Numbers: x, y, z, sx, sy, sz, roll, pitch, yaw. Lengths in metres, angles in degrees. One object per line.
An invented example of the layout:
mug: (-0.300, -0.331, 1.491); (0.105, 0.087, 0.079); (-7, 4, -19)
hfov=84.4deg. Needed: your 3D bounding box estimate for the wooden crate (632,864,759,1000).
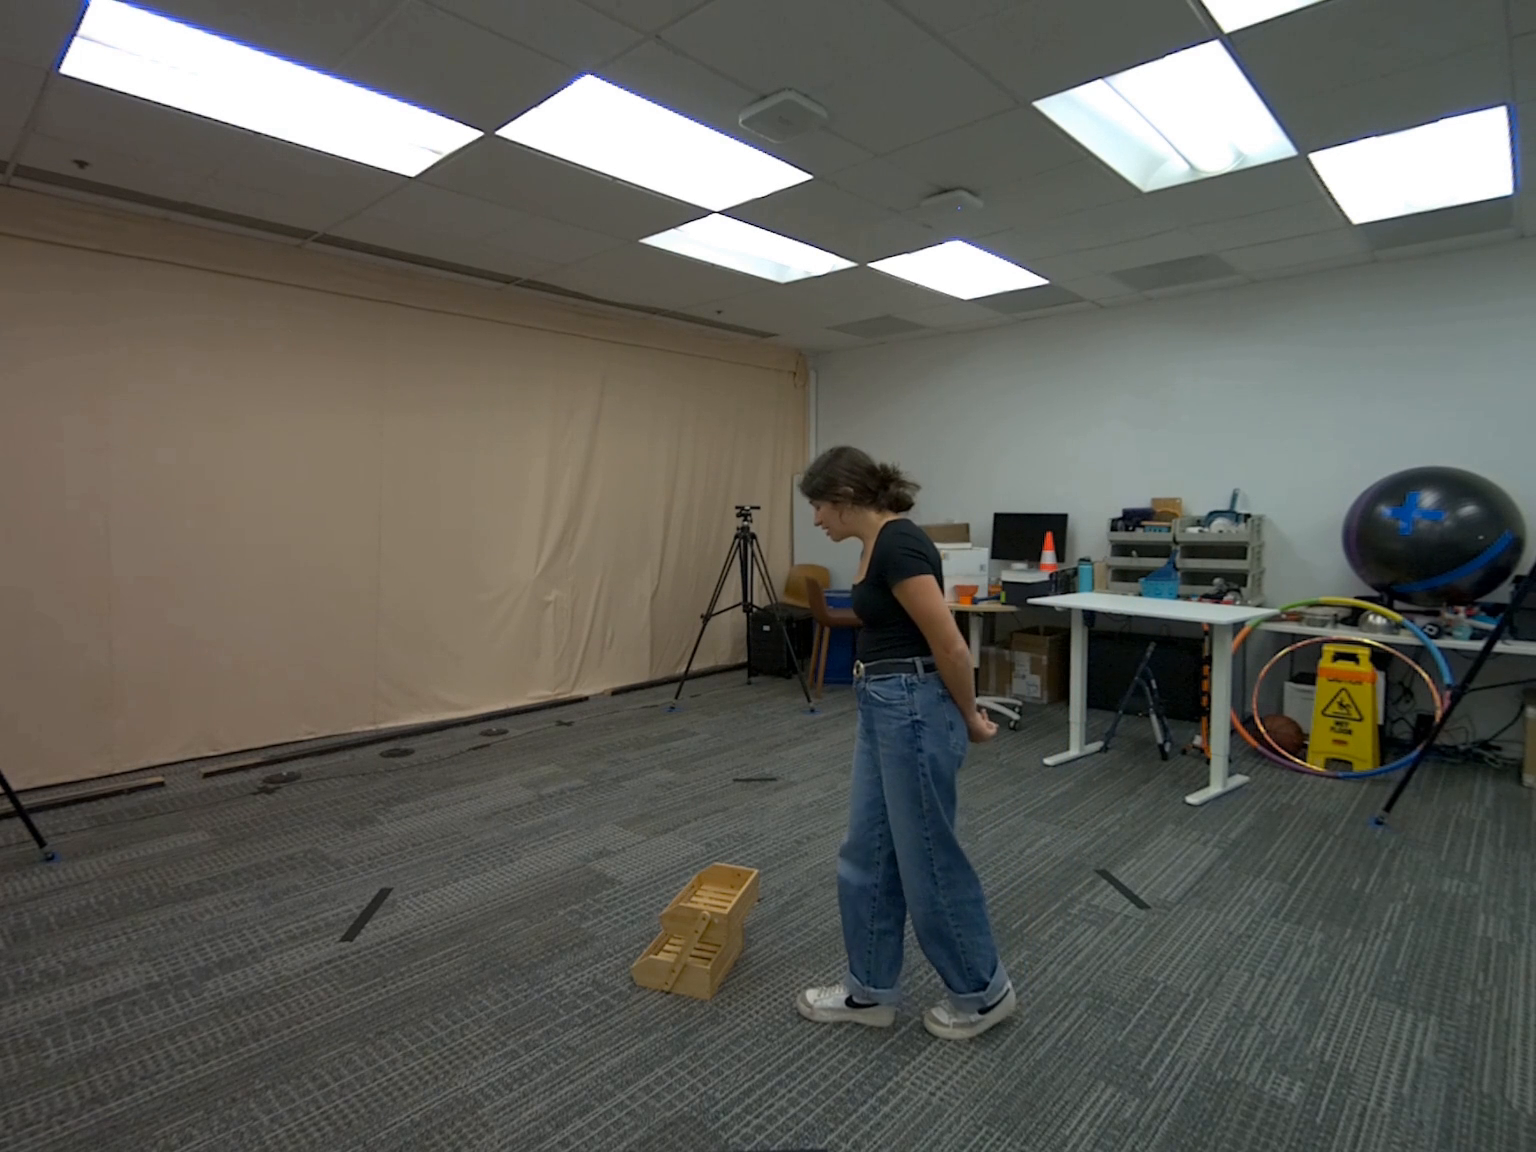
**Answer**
wooden crate: (-0.217, 1.051, 2.534); (0.308, 0.273, 0.319); (2, 4, 18)
